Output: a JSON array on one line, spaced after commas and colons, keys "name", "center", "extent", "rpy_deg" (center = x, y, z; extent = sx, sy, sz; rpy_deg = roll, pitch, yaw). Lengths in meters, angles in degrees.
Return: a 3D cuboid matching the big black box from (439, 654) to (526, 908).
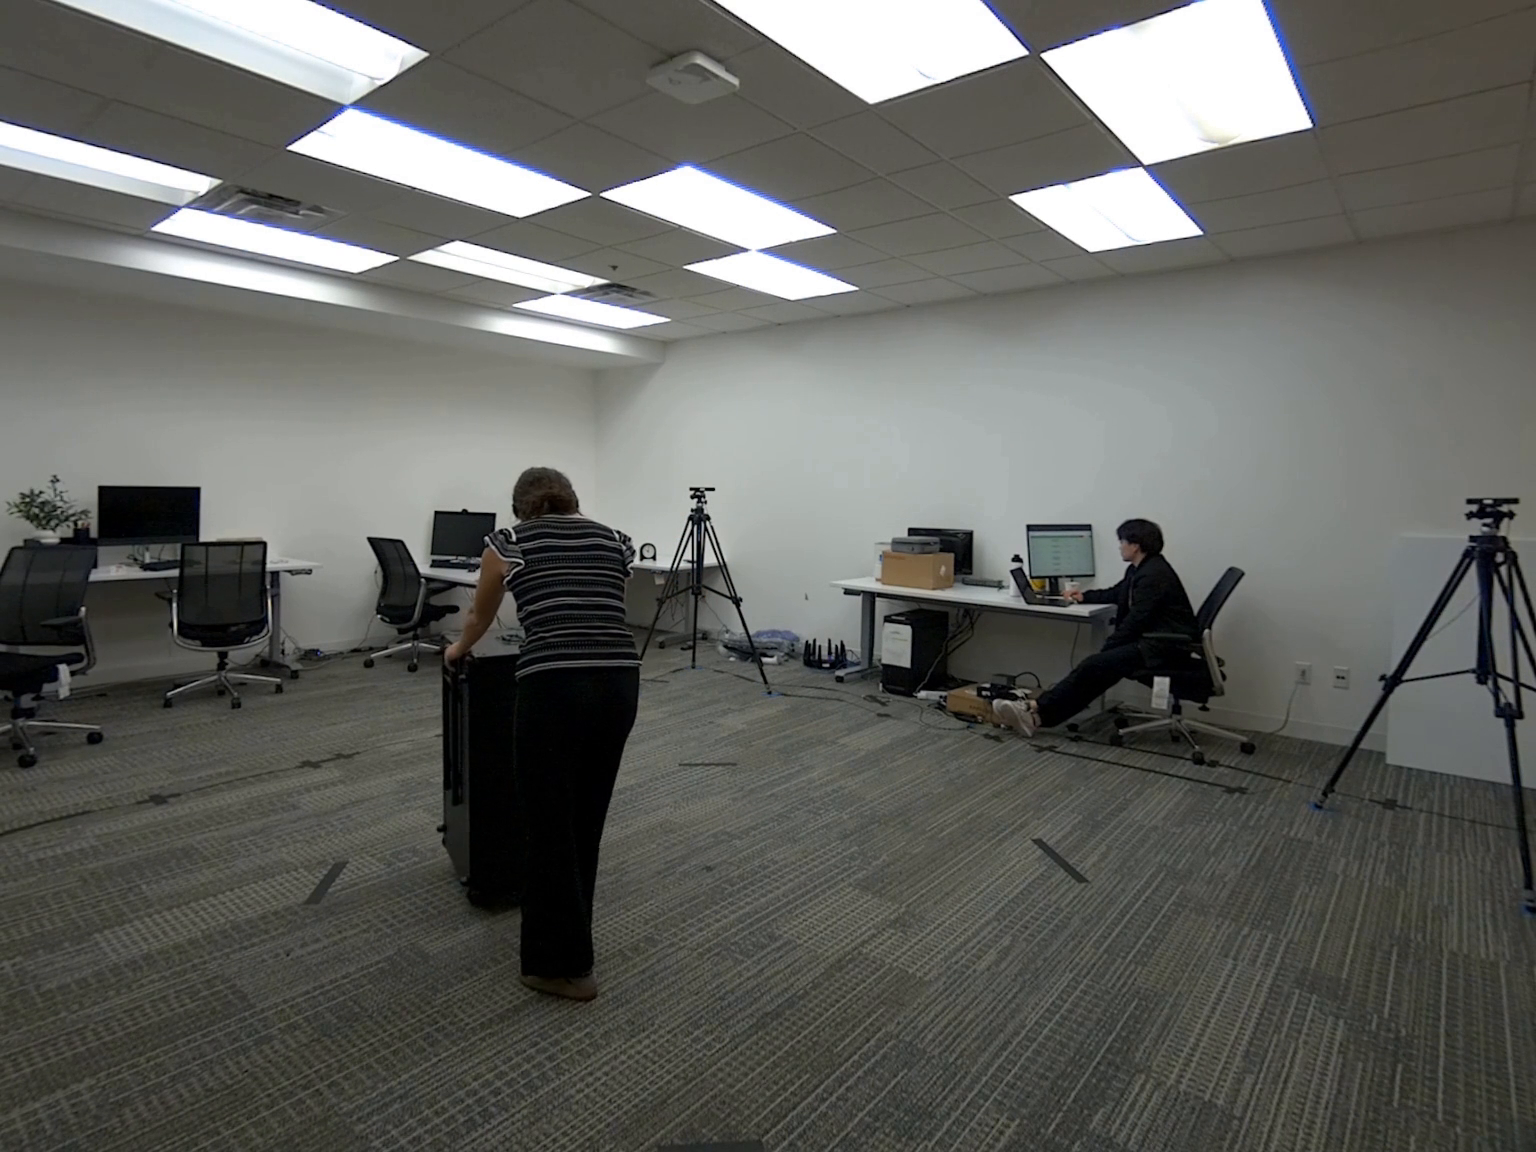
[{"name": "big black box", "center": [-0.926, 0.651, 2.951], "extent": [0.386, 0.858, 0.537], "rpy_deg": [-2, 5, -30]}]
